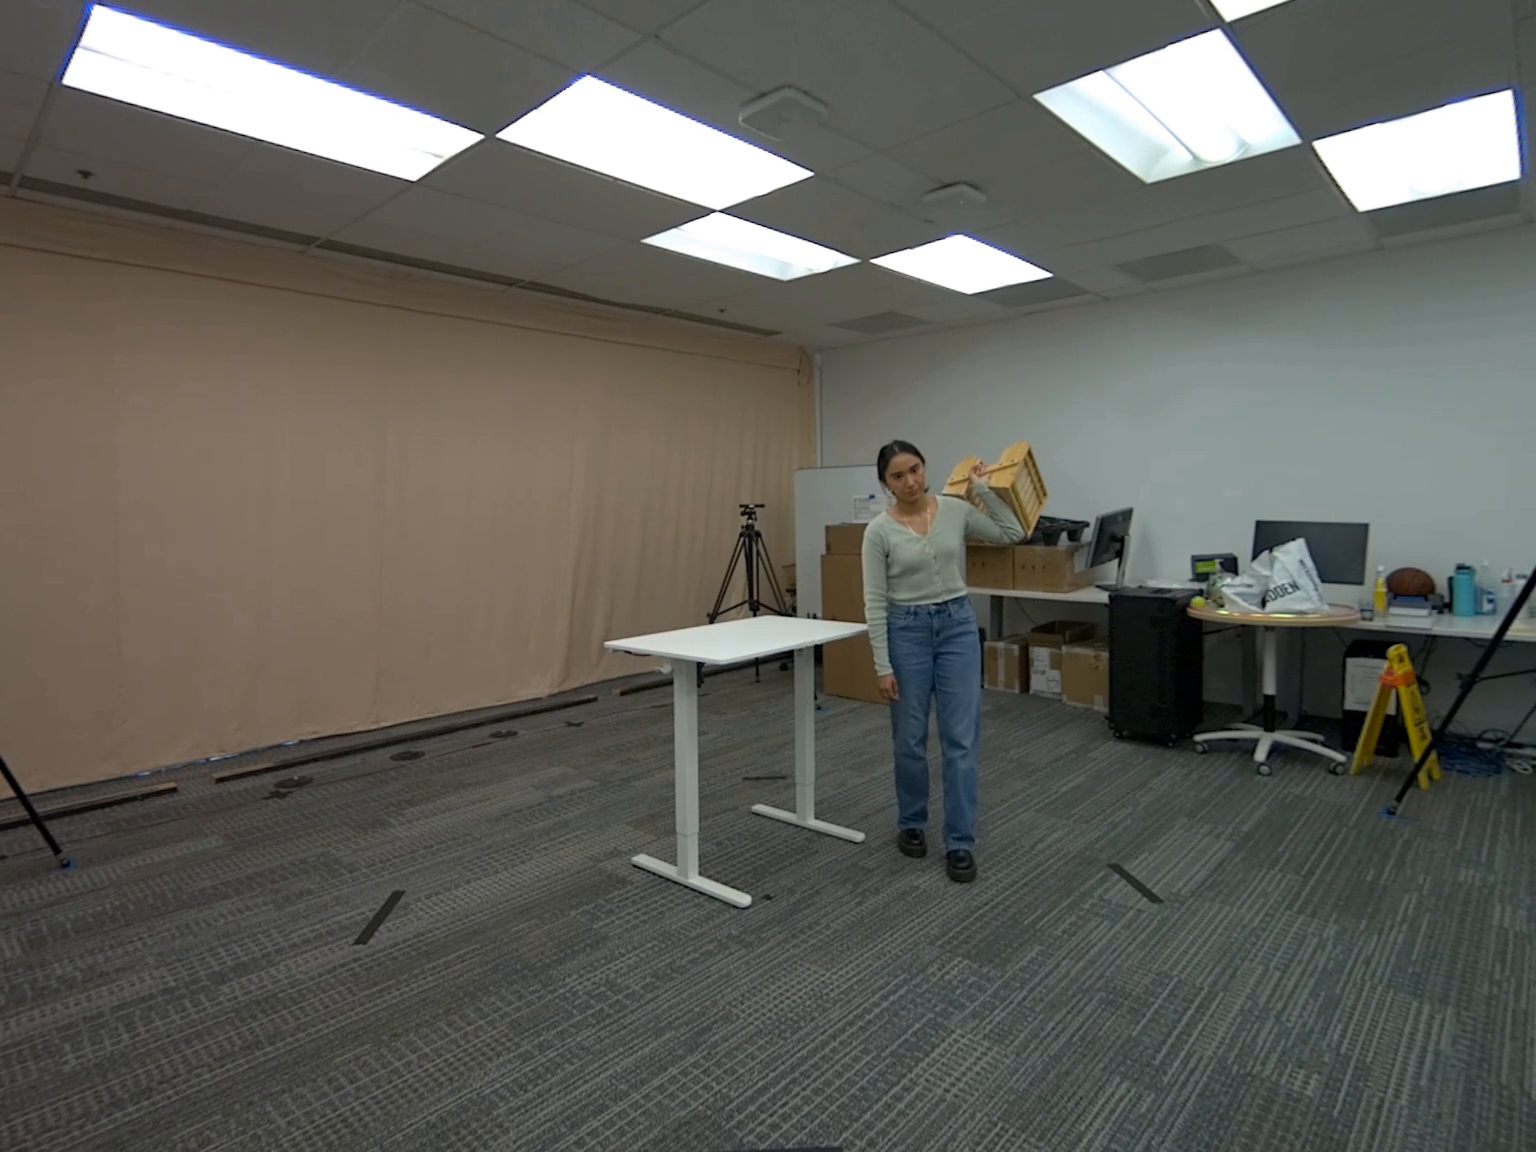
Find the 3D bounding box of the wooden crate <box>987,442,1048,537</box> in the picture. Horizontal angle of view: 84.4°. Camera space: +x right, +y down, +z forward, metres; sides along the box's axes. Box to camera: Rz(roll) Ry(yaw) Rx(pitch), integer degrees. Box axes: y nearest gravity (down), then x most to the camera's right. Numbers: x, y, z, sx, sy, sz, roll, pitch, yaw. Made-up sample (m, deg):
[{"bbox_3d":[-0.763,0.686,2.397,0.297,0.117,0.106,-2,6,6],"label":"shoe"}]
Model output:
[{"bbox_3d":[0.926,-0.336,3.401,0.283,0.301,0.314,7,-36,42],"label":"wooden crate"}]
